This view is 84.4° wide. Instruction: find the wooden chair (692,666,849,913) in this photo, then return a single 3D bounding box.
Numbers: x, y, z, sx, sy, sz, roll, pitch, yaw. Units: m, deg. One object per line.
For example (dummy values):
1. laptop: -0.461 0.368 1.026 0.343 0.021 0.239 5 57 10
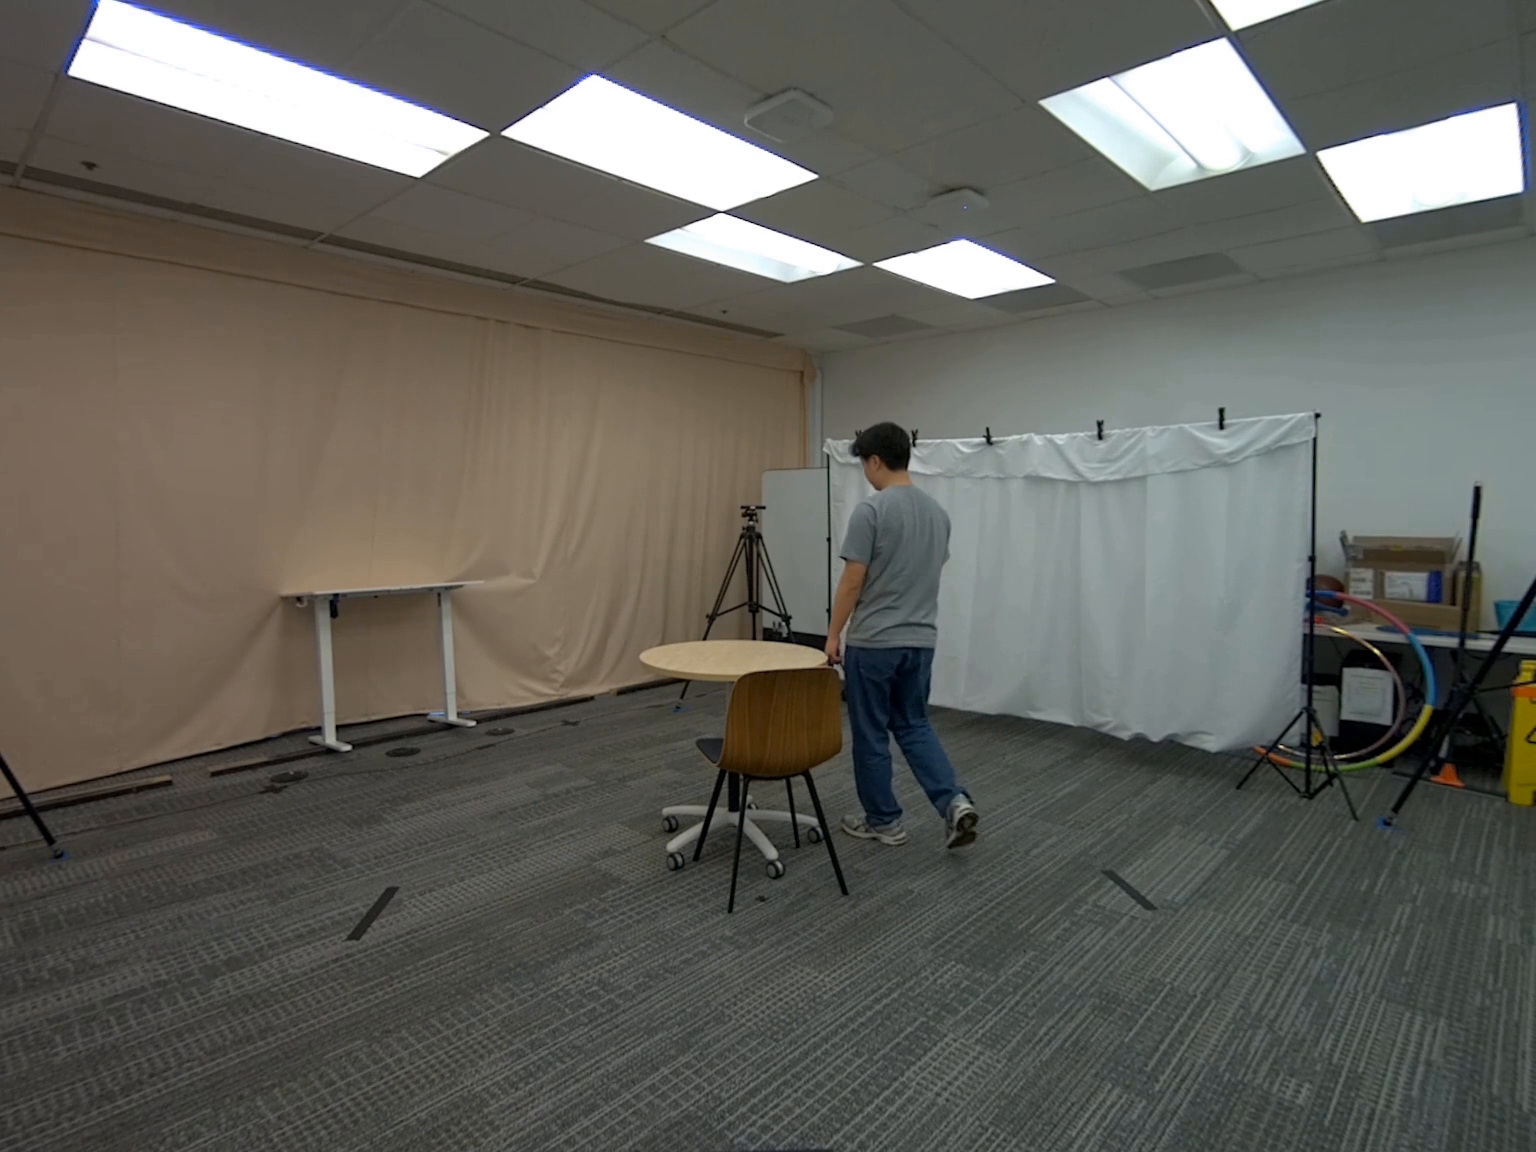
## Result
1. wooden chair: -0.004 0.700 3.126 0.469 0.873 0.536 -1 8 -19
